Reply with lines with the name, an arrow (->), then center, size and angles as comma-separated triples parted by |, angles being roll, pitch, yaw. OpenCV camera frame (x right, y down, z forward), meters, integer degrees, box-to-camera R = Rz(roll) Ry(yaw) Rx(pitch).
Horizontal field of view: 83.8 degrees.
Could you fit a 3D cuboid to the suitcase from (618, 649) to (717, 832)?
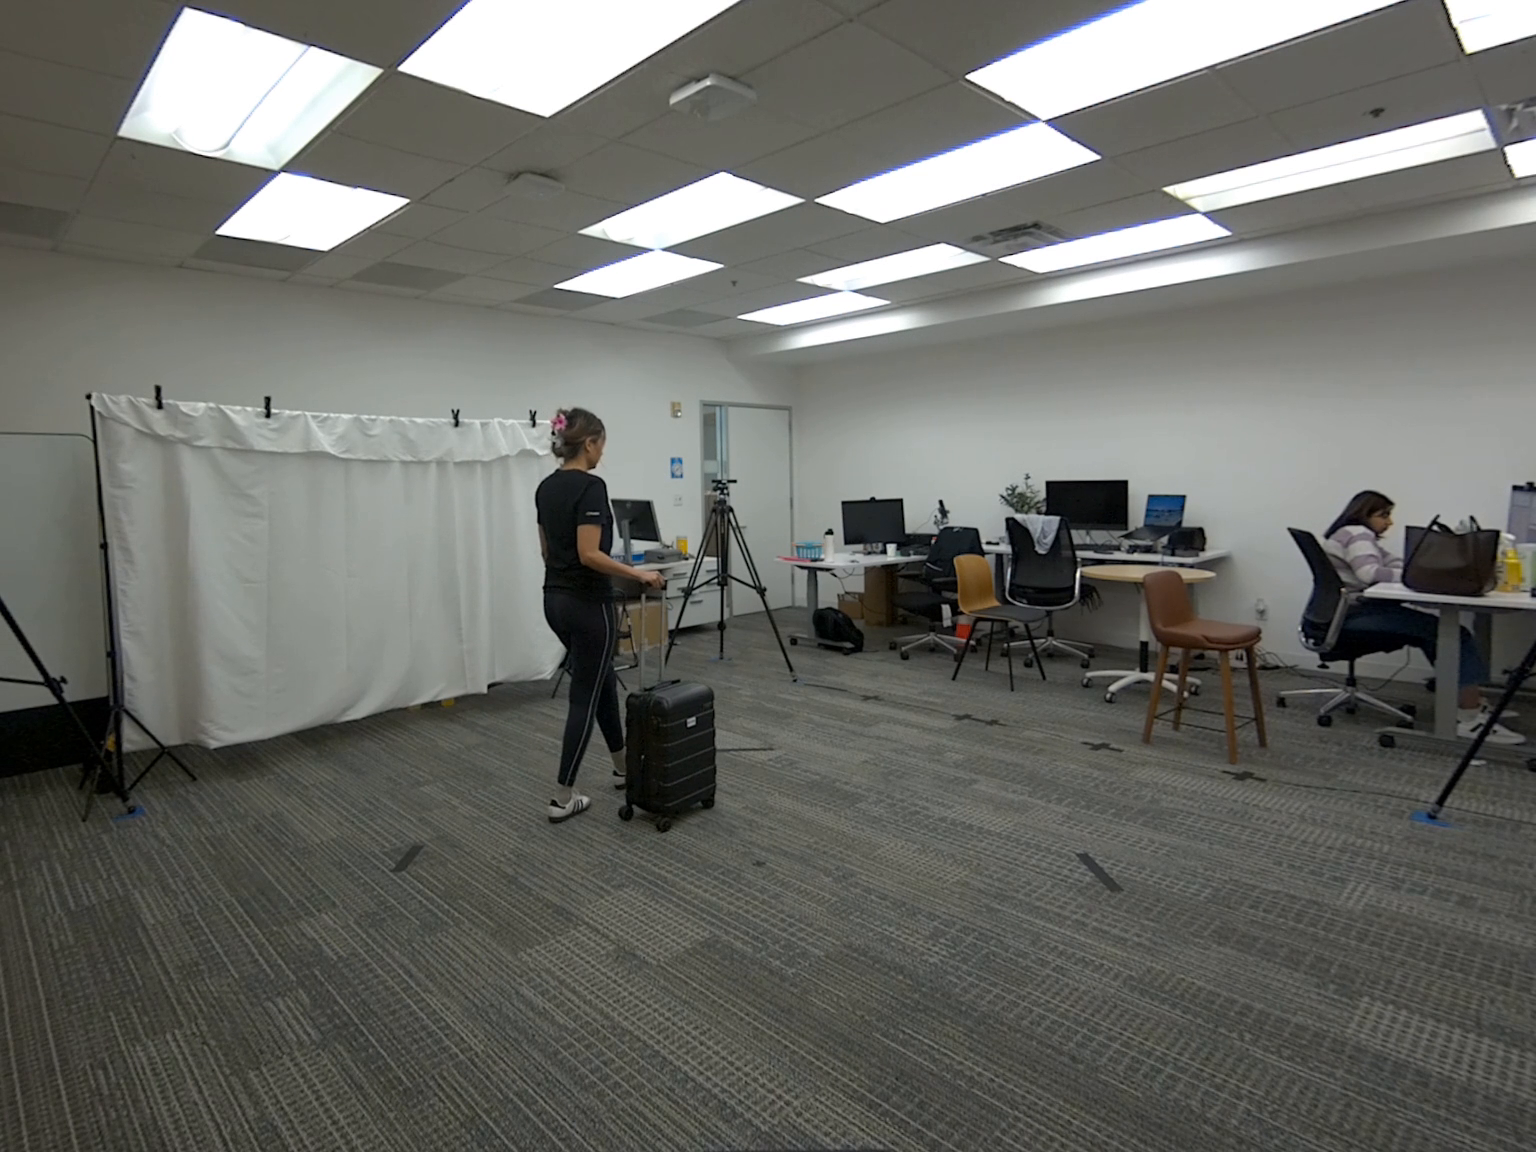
suitcase -> -0.397, 0.527, 3.588 | 0.265, 0.976, 0.374 | 5, 4, 35
